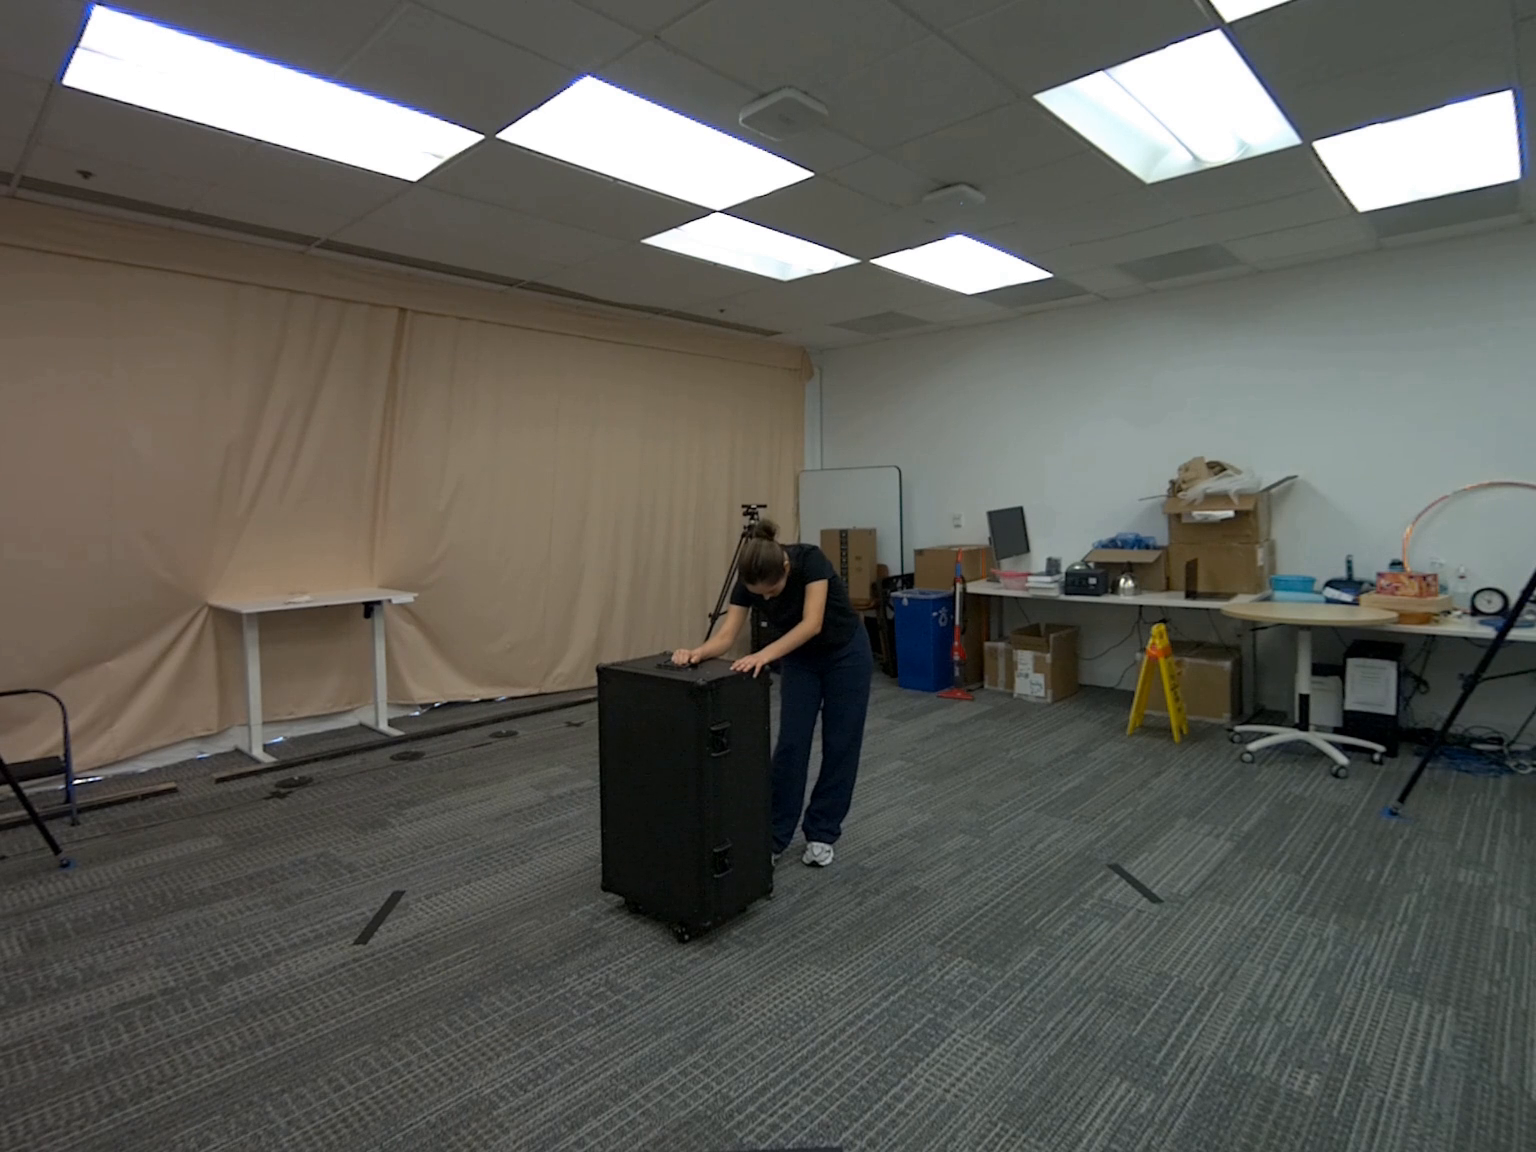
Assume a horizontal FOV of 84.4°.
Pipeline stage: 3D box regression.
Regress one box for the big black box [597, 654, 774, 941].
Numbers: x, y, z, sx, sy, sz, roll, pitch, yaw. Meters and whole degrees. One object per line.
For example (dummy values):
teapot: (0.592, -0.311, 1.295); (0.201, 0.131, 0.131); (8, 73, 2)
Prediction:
big black box: (-0.275, 0.734, 2.869); (0.538, 0.859, 0.384); (3, 4, 38)
